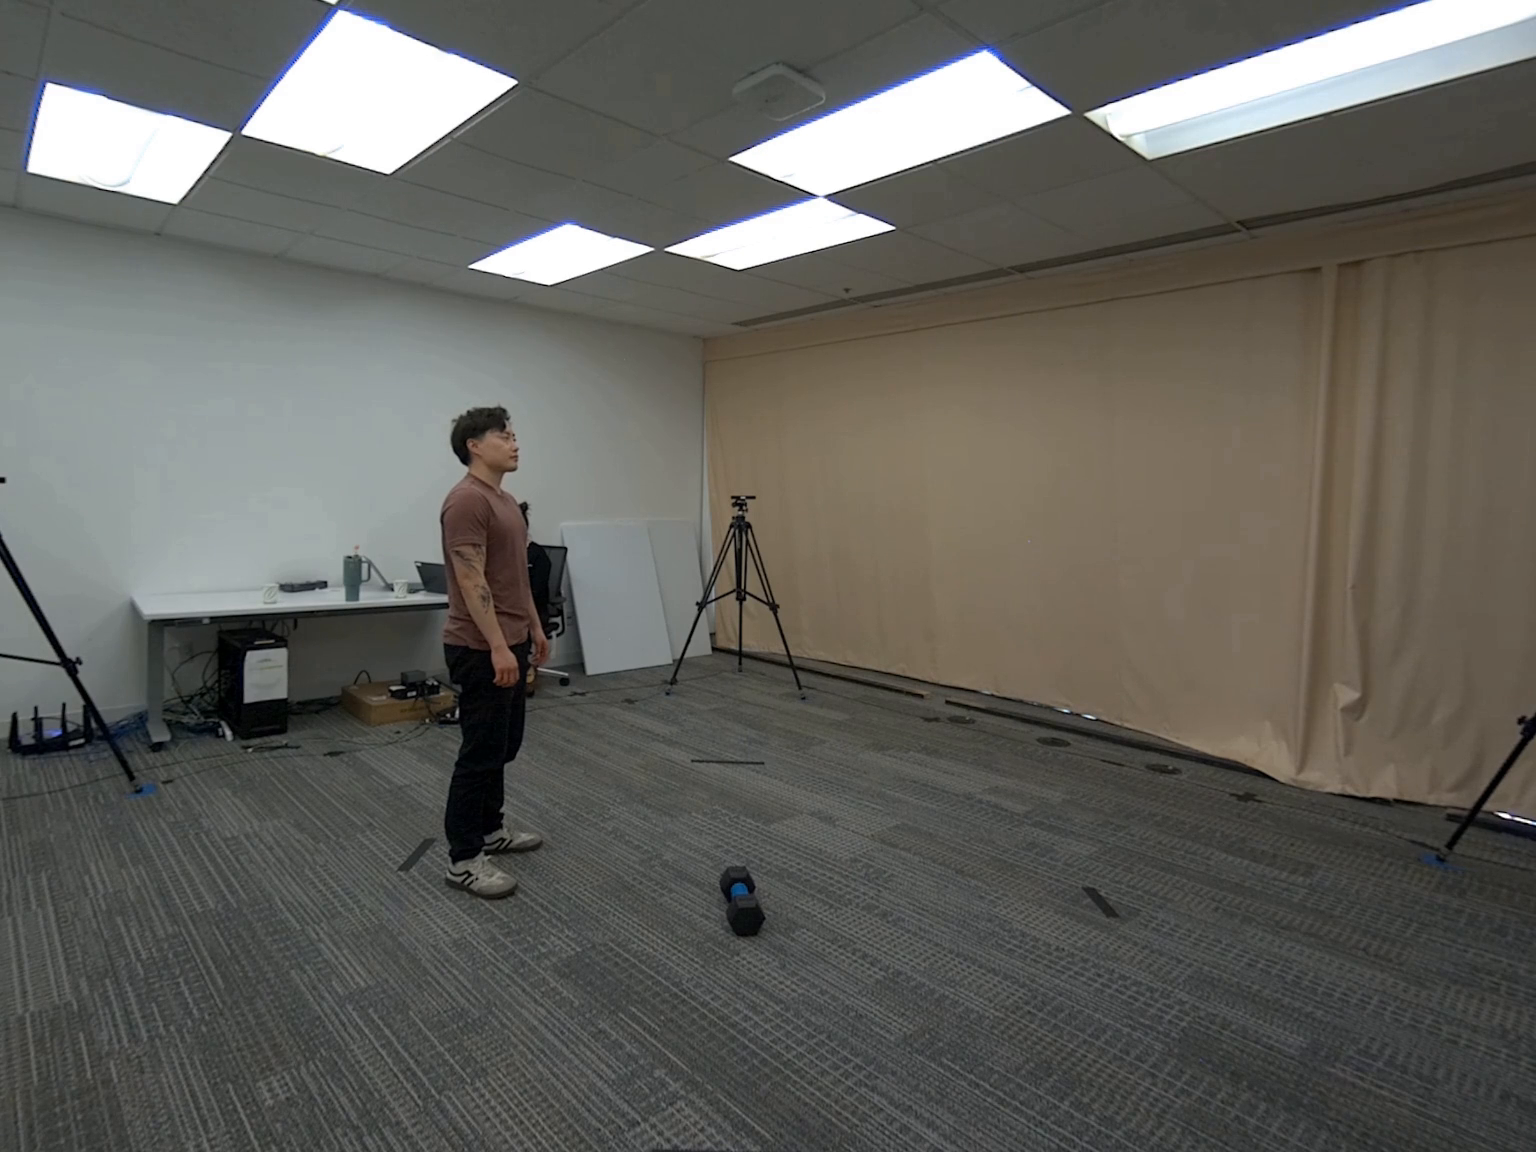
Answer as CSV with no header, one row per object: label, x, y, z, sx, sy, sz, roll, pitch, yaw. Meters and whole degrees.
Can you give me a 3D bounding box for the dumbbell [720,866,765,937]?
dumbbell,-0.096,1.080,2.799,0.108,0.122,0.296,-29,8,-5
